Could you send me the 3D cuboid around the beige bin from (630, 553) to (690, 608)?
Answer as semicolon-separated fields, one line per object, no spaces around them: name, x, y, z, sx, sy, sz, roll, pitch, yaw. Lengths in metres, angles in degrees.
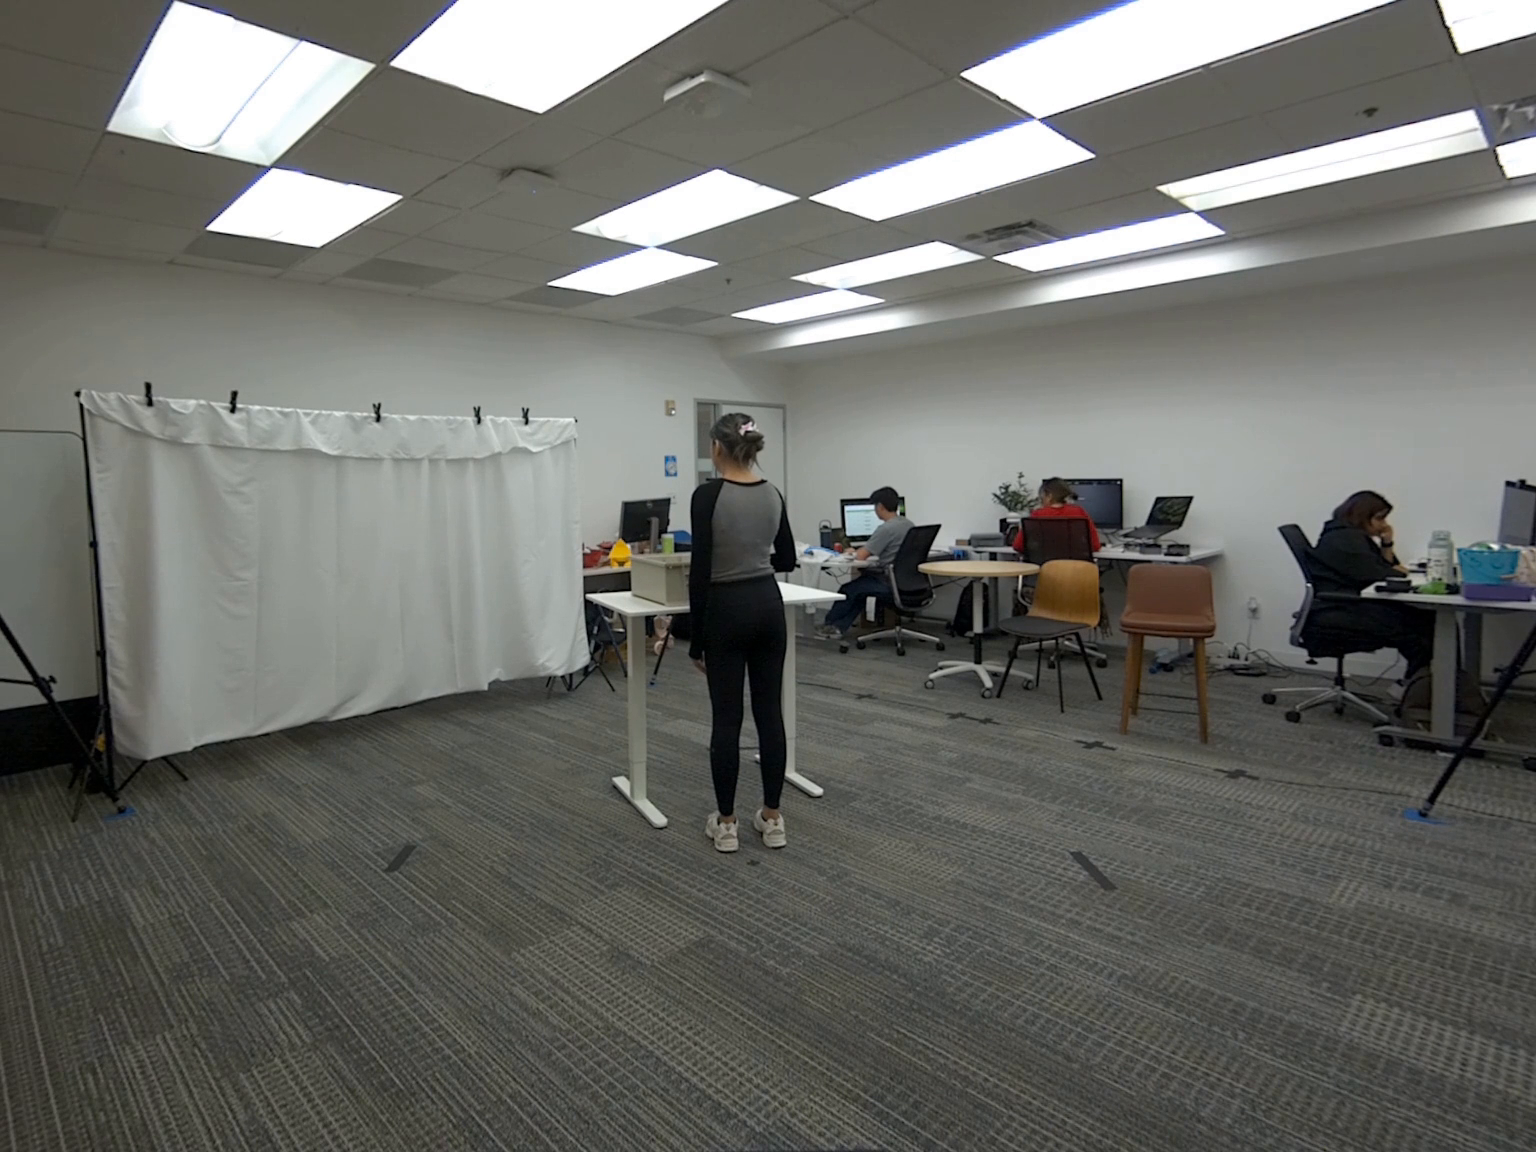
beige bin;-0.354;0.010;3.693;0.369;0.188;0.434;-5;8;-28
